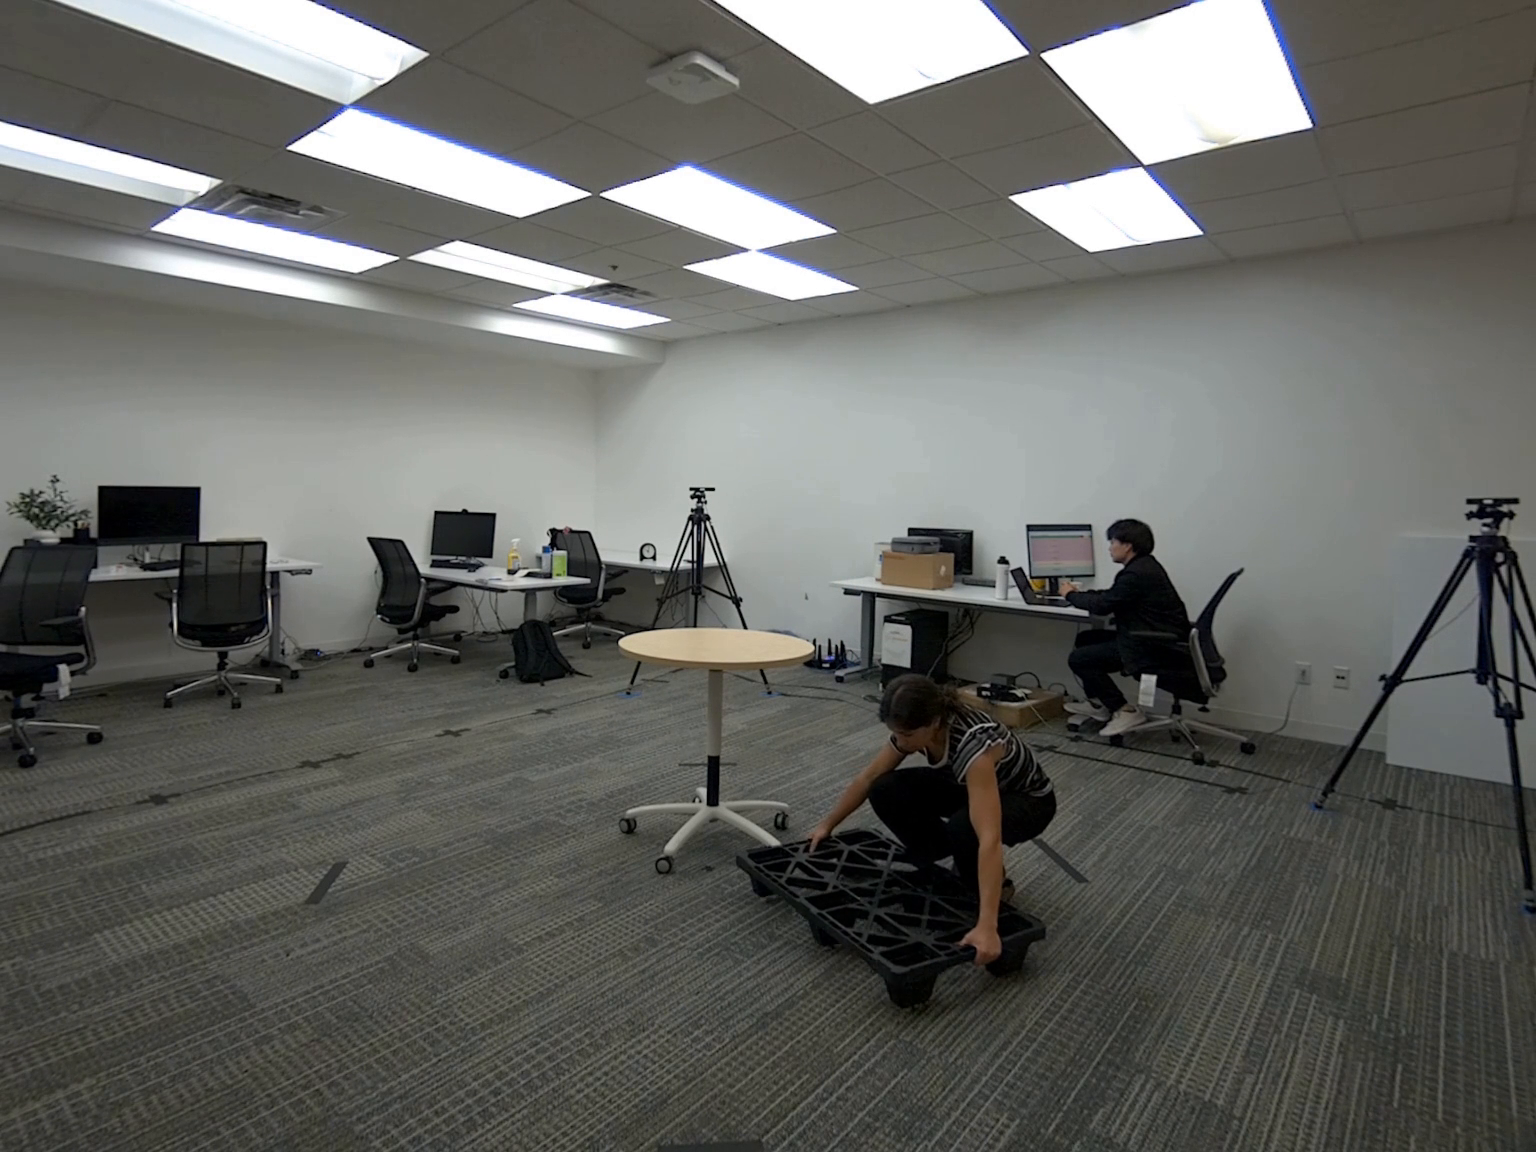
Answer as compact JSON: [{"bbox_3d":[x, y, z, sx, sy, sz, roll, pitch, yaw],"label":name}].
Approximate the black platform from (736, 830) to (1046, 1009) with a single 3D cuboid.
[{"bbox_3d":[0.345,1.037,2.685,0.588,0.143,0.831,-1,6,-32],"label":"black platform"}]
